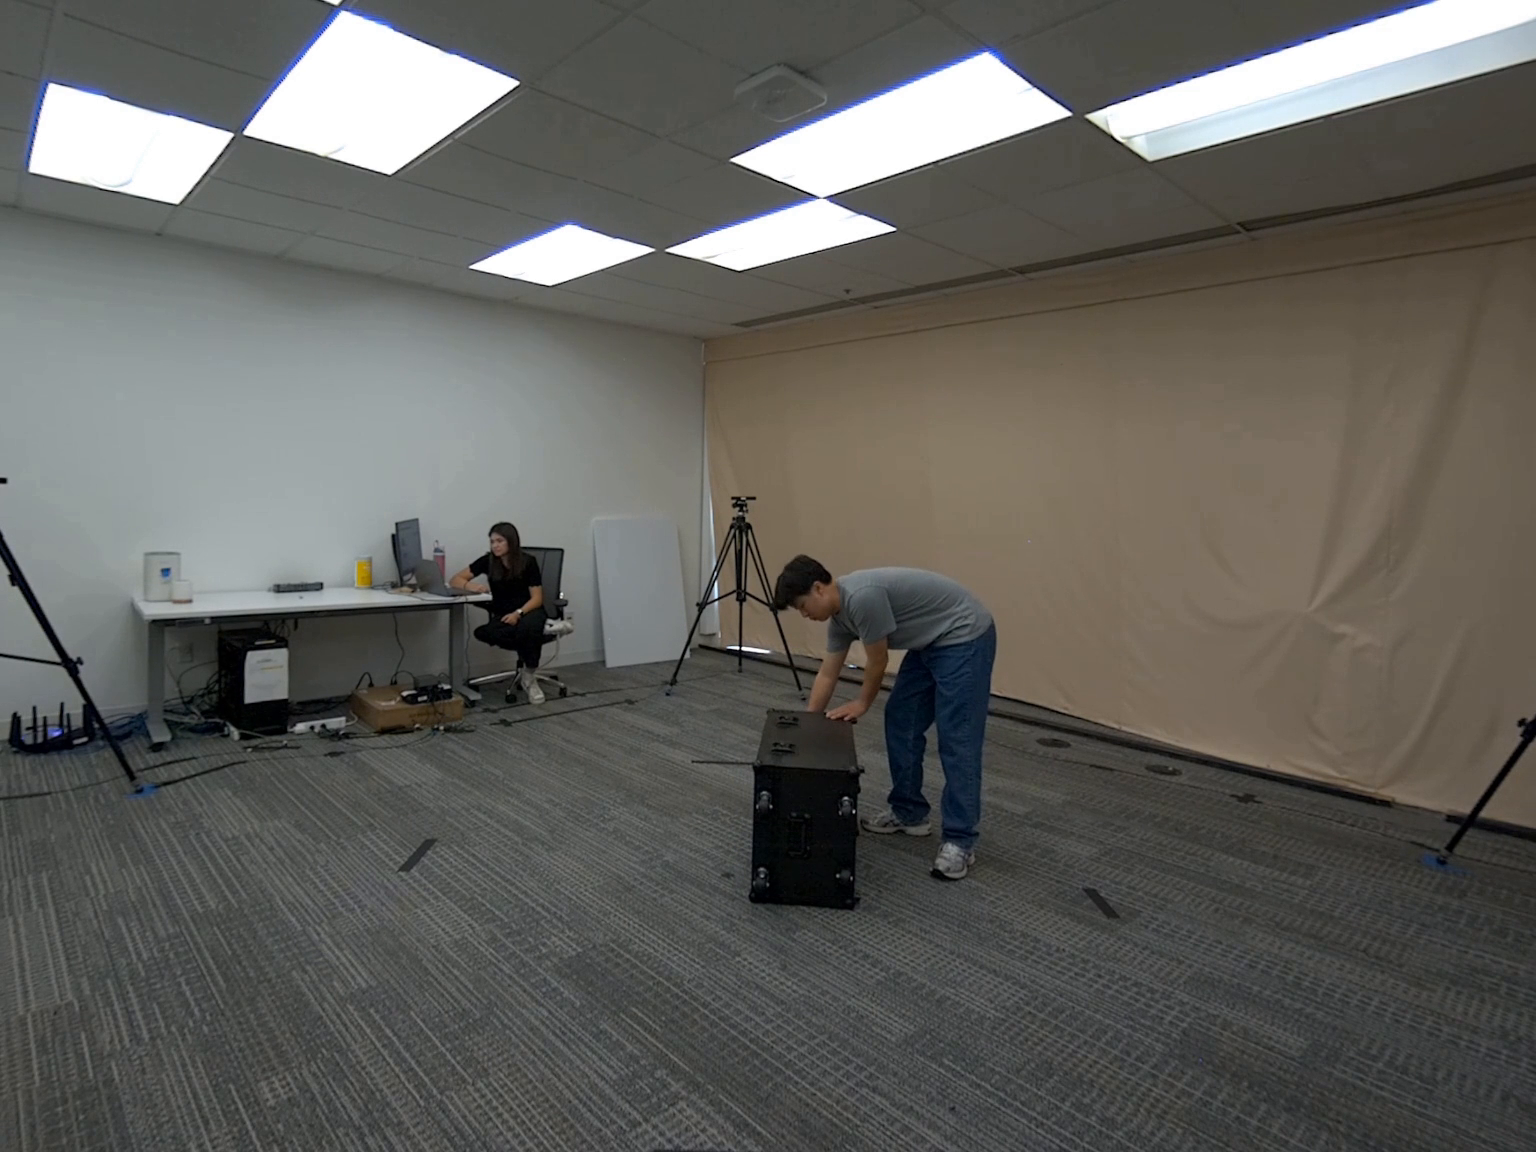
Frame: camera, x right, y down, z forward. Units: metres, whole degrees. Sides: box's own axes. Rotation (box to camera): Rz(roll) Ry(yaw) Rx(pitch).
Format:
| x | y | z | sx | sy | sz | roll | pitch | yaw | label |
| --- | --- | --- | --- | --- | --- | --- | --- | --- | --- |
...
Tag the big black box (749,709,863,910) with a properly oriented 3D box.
| x | y | z | sx | sy | sz | roll | pitch | yaw | label |
| --- | --- | --- | --- | --- | --- | --- | --- | --- | --- |
| 0.146 | 0.856 | 3.207 | 0.398 | 0.520 | 0.860 | 1 | 4 | 4 | big black box |
